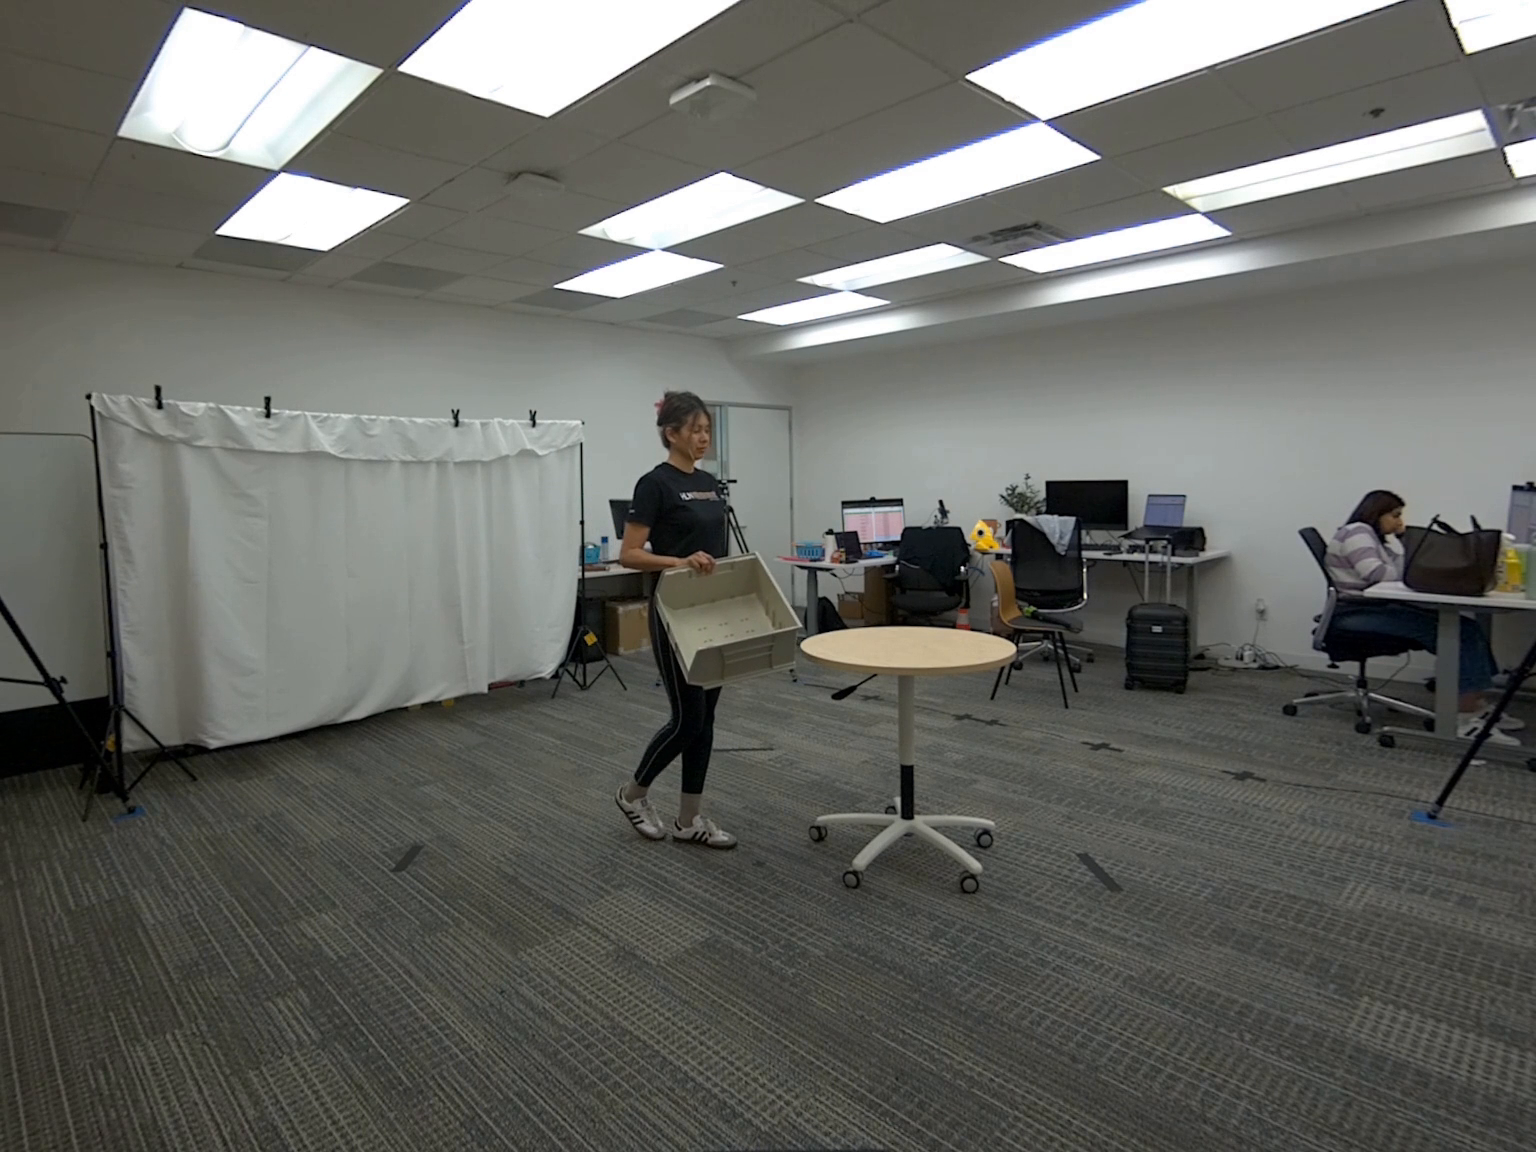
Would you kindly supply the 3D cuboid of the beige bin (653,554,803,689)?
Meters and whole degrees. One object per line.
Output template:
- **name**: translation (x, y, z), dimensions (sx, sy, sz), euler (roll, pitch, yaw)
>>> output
- **beige bin**: translation (-0.139, 0.142, 2.832), dimensions (0.372, 0.184, 0.438), euler (-10, 37, -17)
